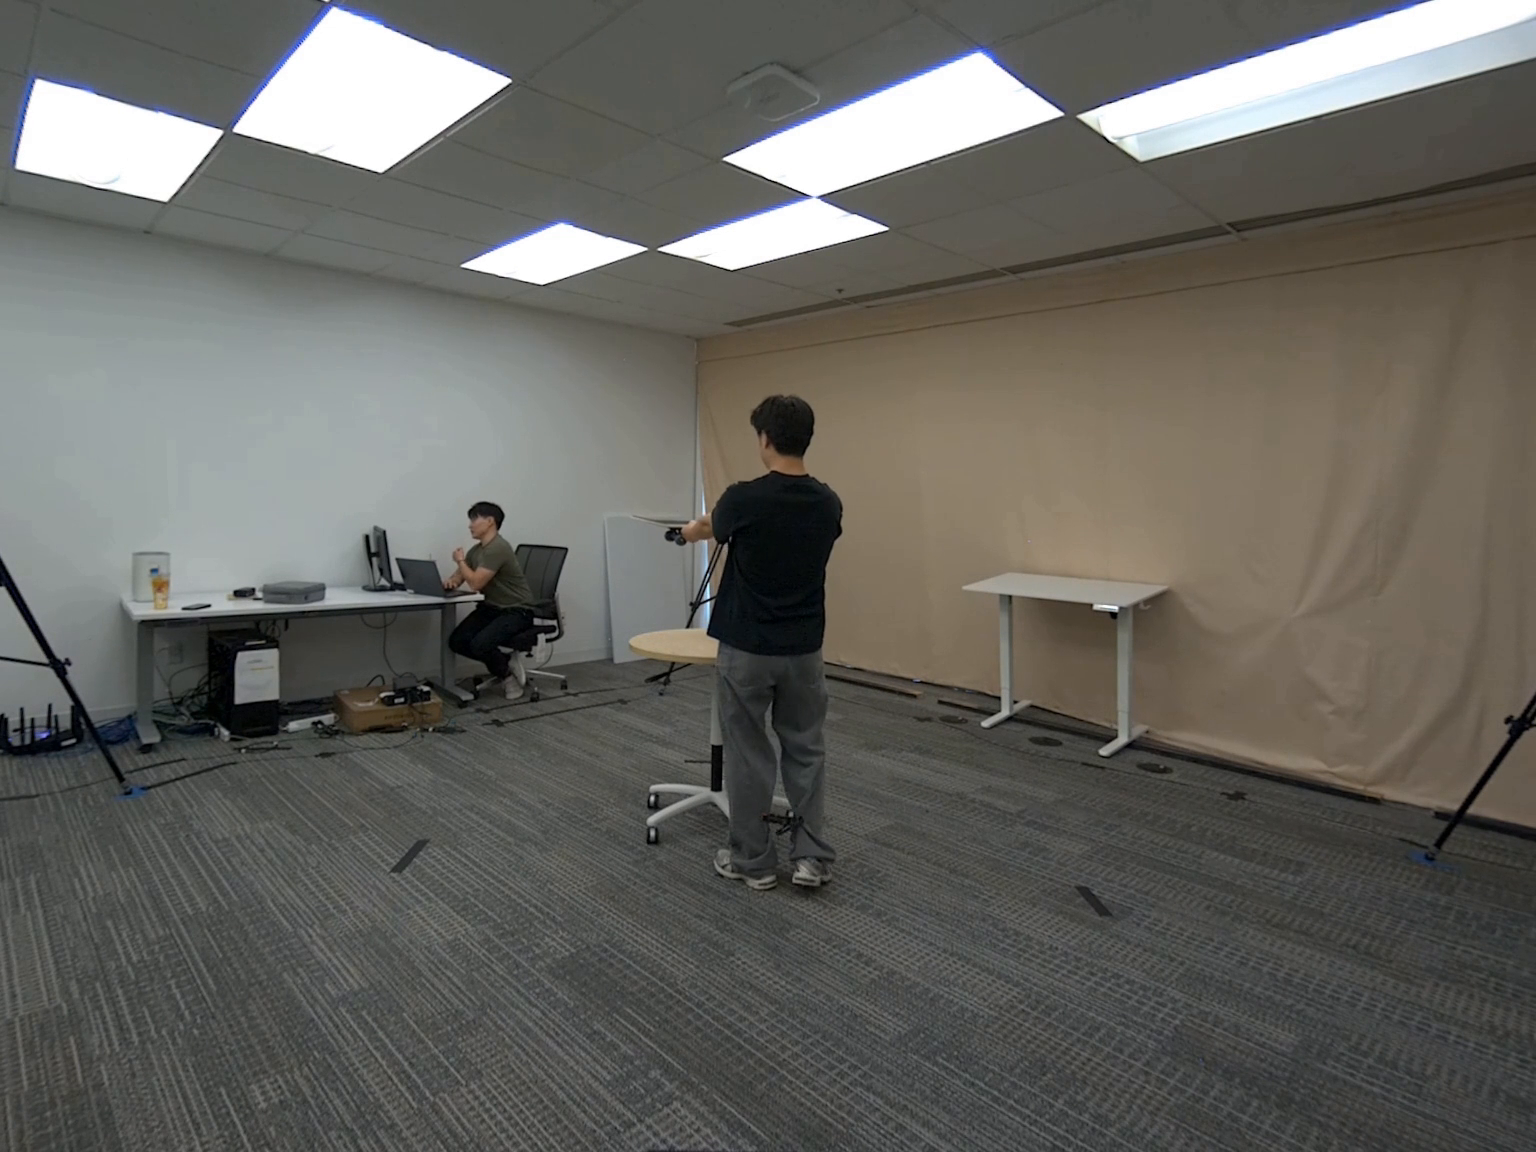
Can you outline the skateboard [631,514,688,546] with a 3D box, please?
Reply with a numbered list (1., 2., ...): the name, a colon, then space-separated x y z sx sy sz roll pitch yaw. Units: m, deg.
1. skateboard: -0.210 -0.192 3.595 0.772 0.110 0.197 1 4 -22
